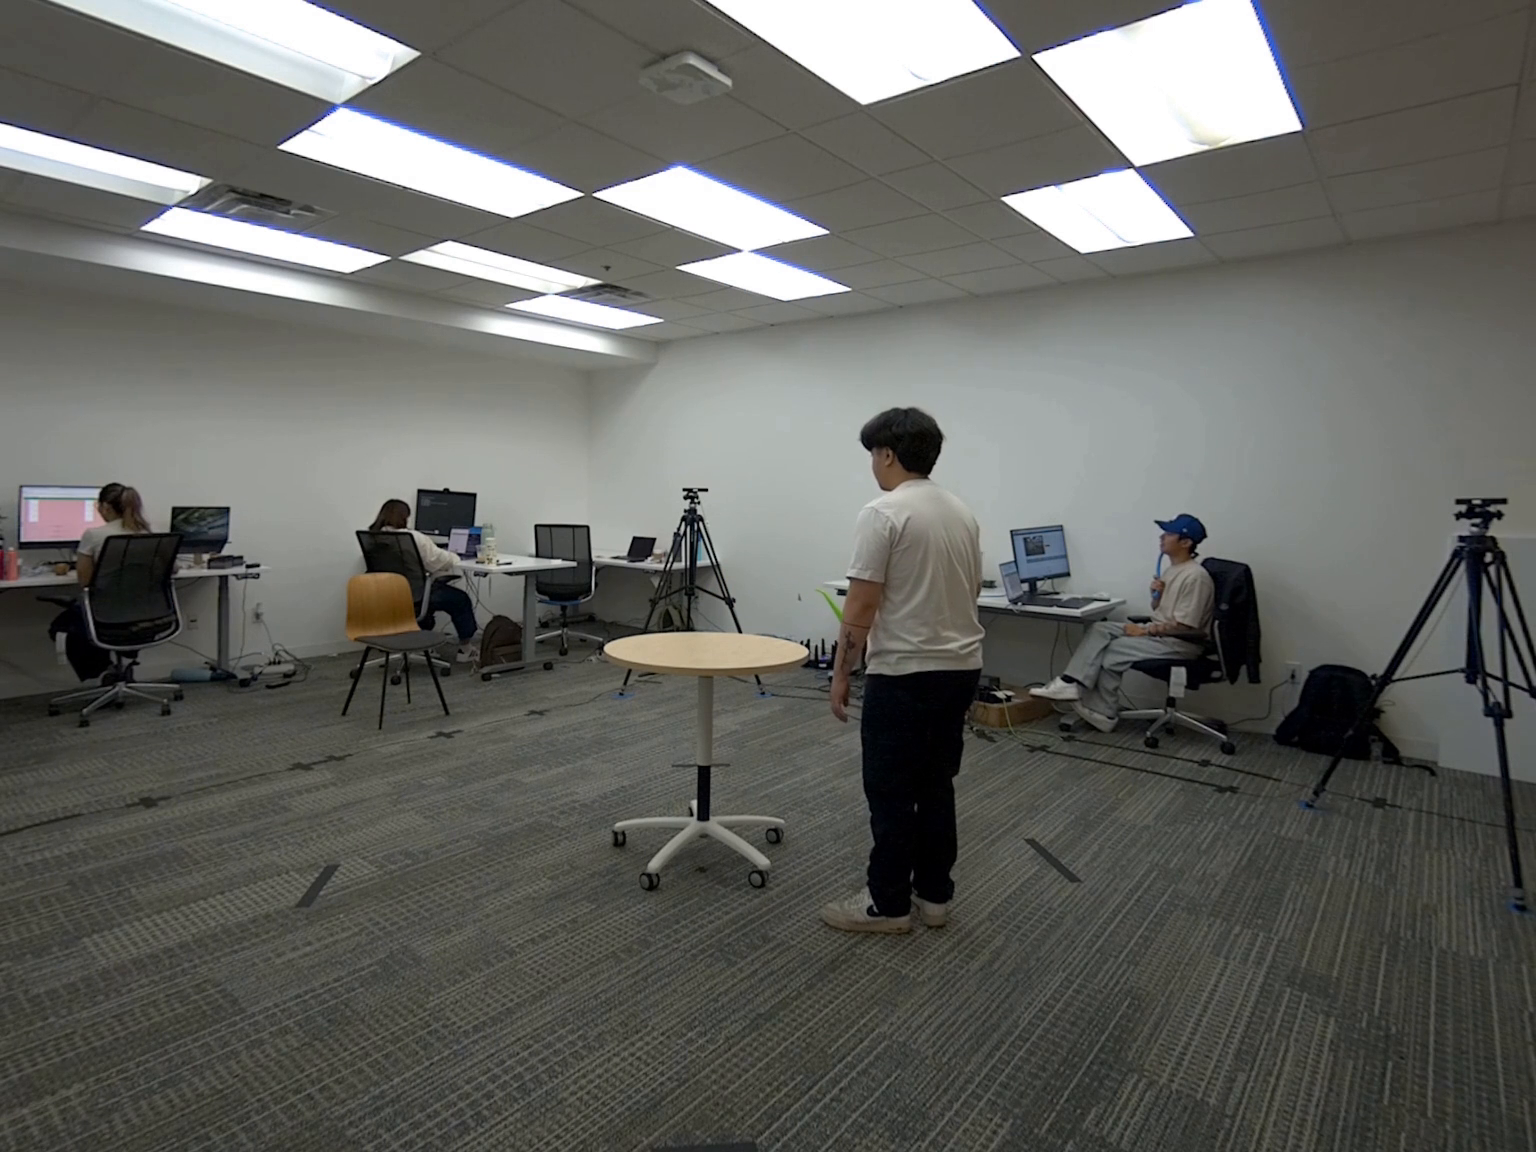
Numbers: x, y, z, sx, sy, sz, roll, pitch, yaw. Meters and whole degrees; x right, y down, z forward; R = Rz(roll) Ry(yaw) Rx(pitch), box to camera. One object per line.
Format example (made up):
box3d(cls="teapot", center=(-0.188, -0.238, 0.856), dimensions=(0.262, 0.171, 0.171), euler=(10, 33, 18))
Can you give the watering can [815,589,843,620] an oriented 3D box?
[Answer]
box3d(cls="watering can", center=(0.310, 0.133, 3.053), dimensions=(0.286, 0.178, 0.095), euler=(-3, -7, 33))
